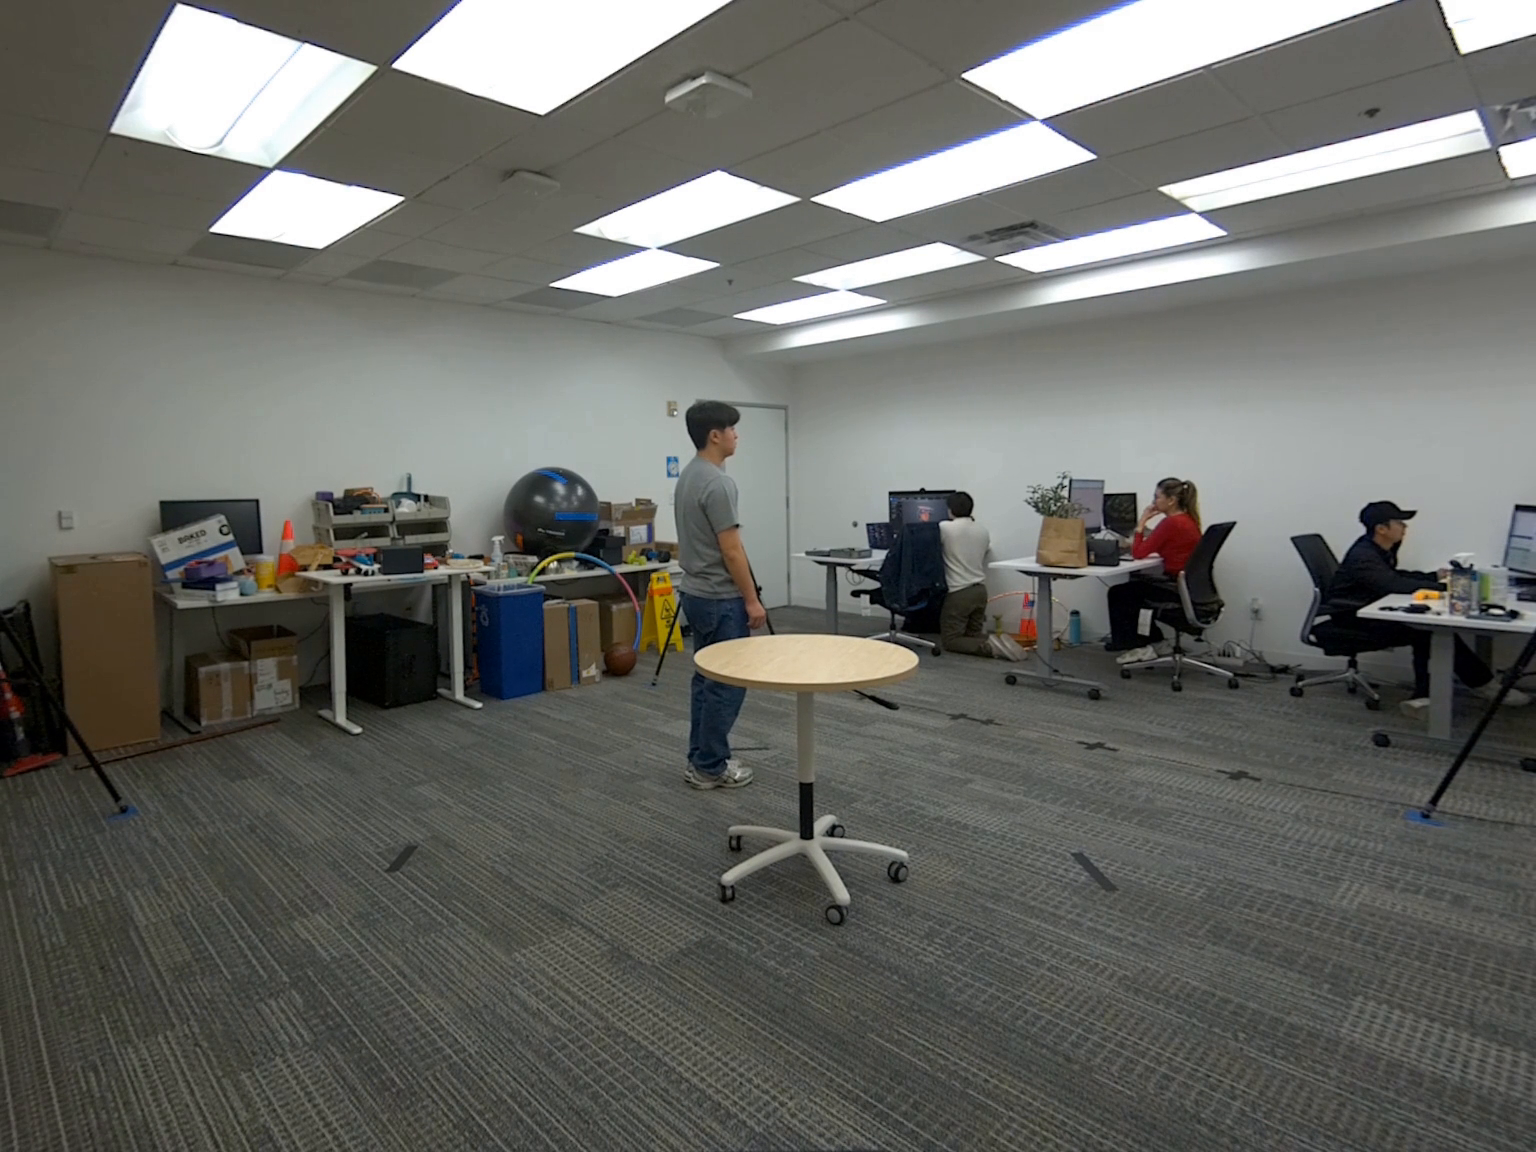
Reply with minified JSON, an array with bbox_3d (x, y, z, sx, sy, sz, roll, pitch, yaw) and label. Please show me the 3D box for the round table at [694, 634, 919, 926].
[{"bbox_3d":[0.134,0.668,2.970,0.763,0.791,0.768,-1,5,-2],"label":"round table"}]
